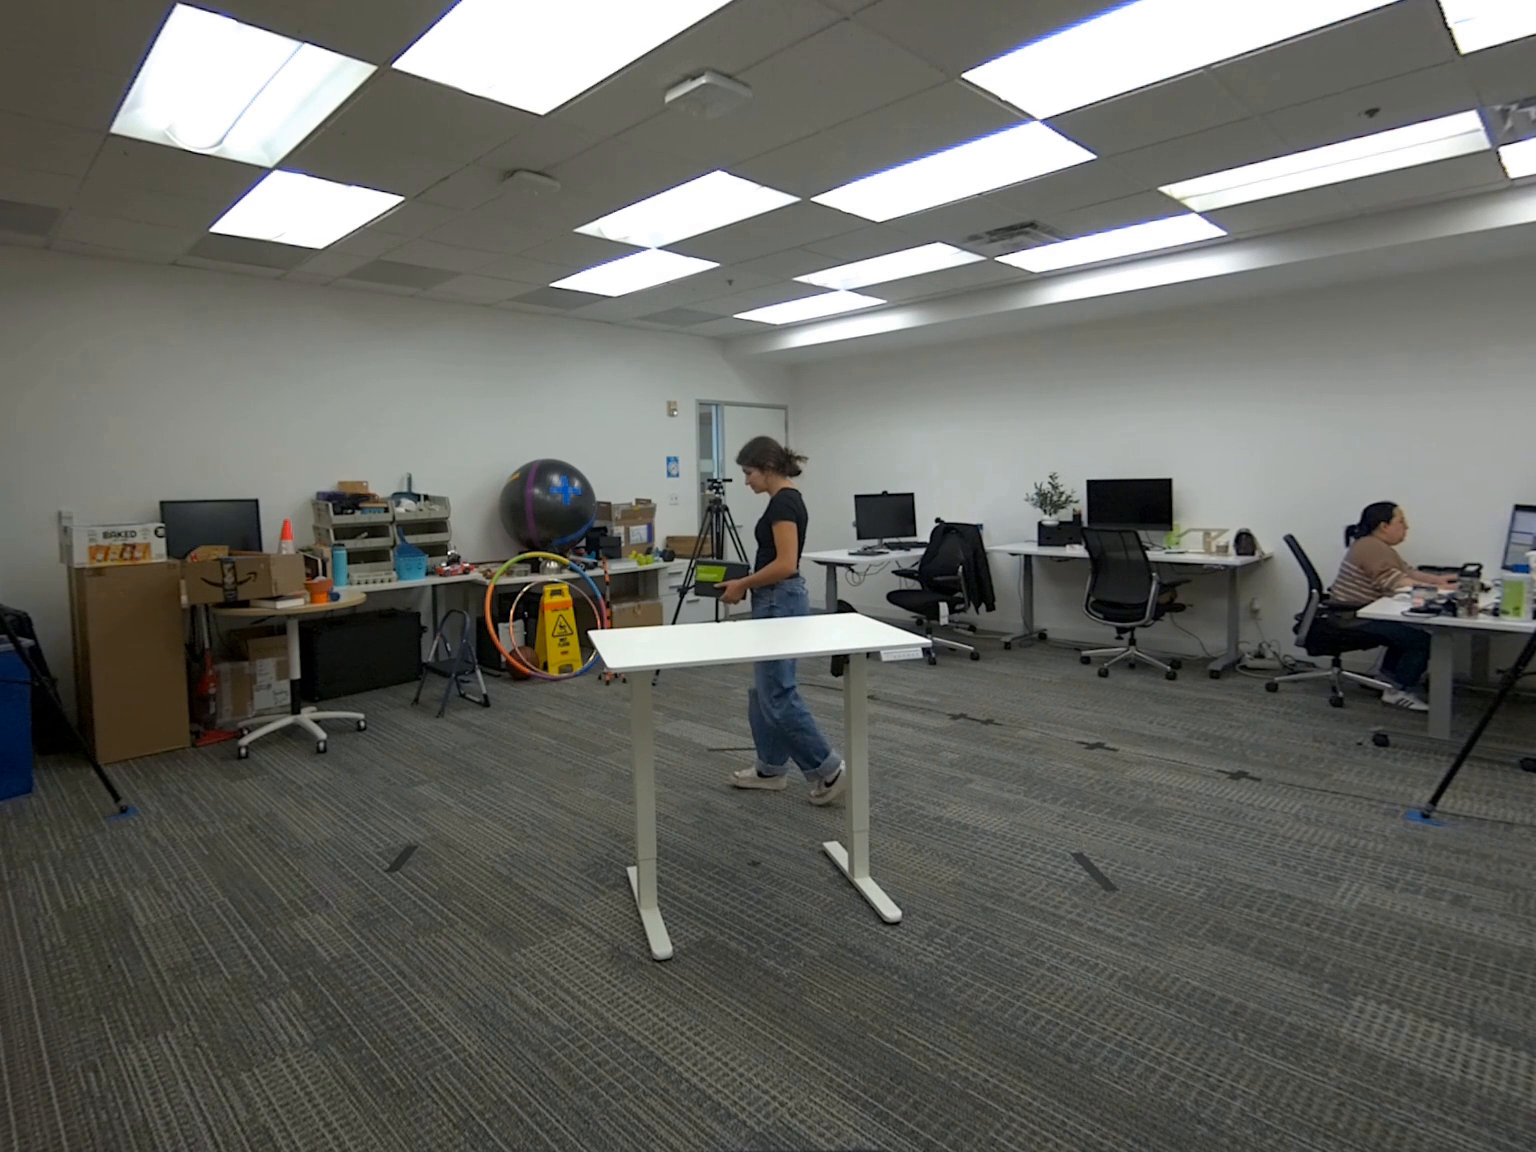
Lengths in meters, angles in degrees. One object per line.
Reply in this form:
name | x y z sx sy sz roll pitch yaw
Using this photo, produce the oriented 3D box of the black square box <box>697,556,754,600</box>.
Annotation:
black square box | -0.193 0.005 3.783 0.227 0.156 0.218 5 2 -3
